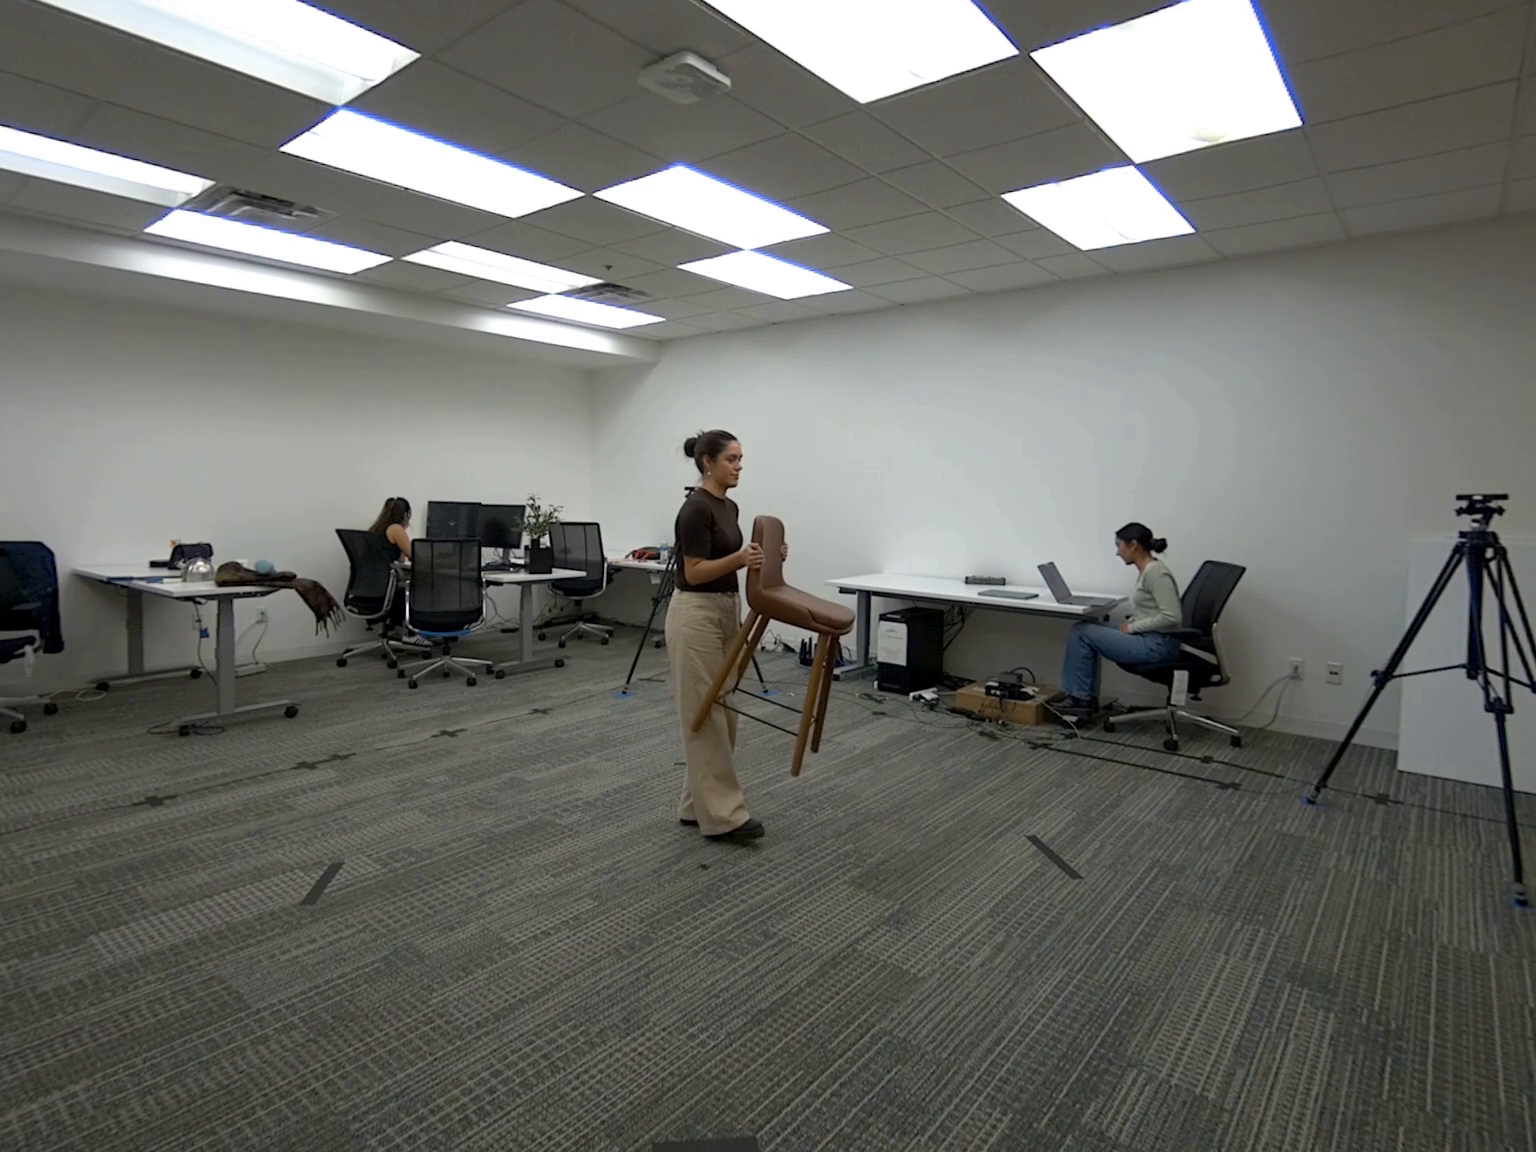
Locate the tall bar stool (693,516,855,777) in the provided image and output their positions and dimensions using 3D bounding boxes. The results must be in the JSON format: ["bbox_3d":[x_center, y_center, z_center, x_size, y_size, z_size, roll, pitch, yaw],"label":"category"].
[{"bbox_3d":[0.065,0.252,3.357,0.478,0.887,0.448,16,4,16],"label":"tall bar stool"}]
